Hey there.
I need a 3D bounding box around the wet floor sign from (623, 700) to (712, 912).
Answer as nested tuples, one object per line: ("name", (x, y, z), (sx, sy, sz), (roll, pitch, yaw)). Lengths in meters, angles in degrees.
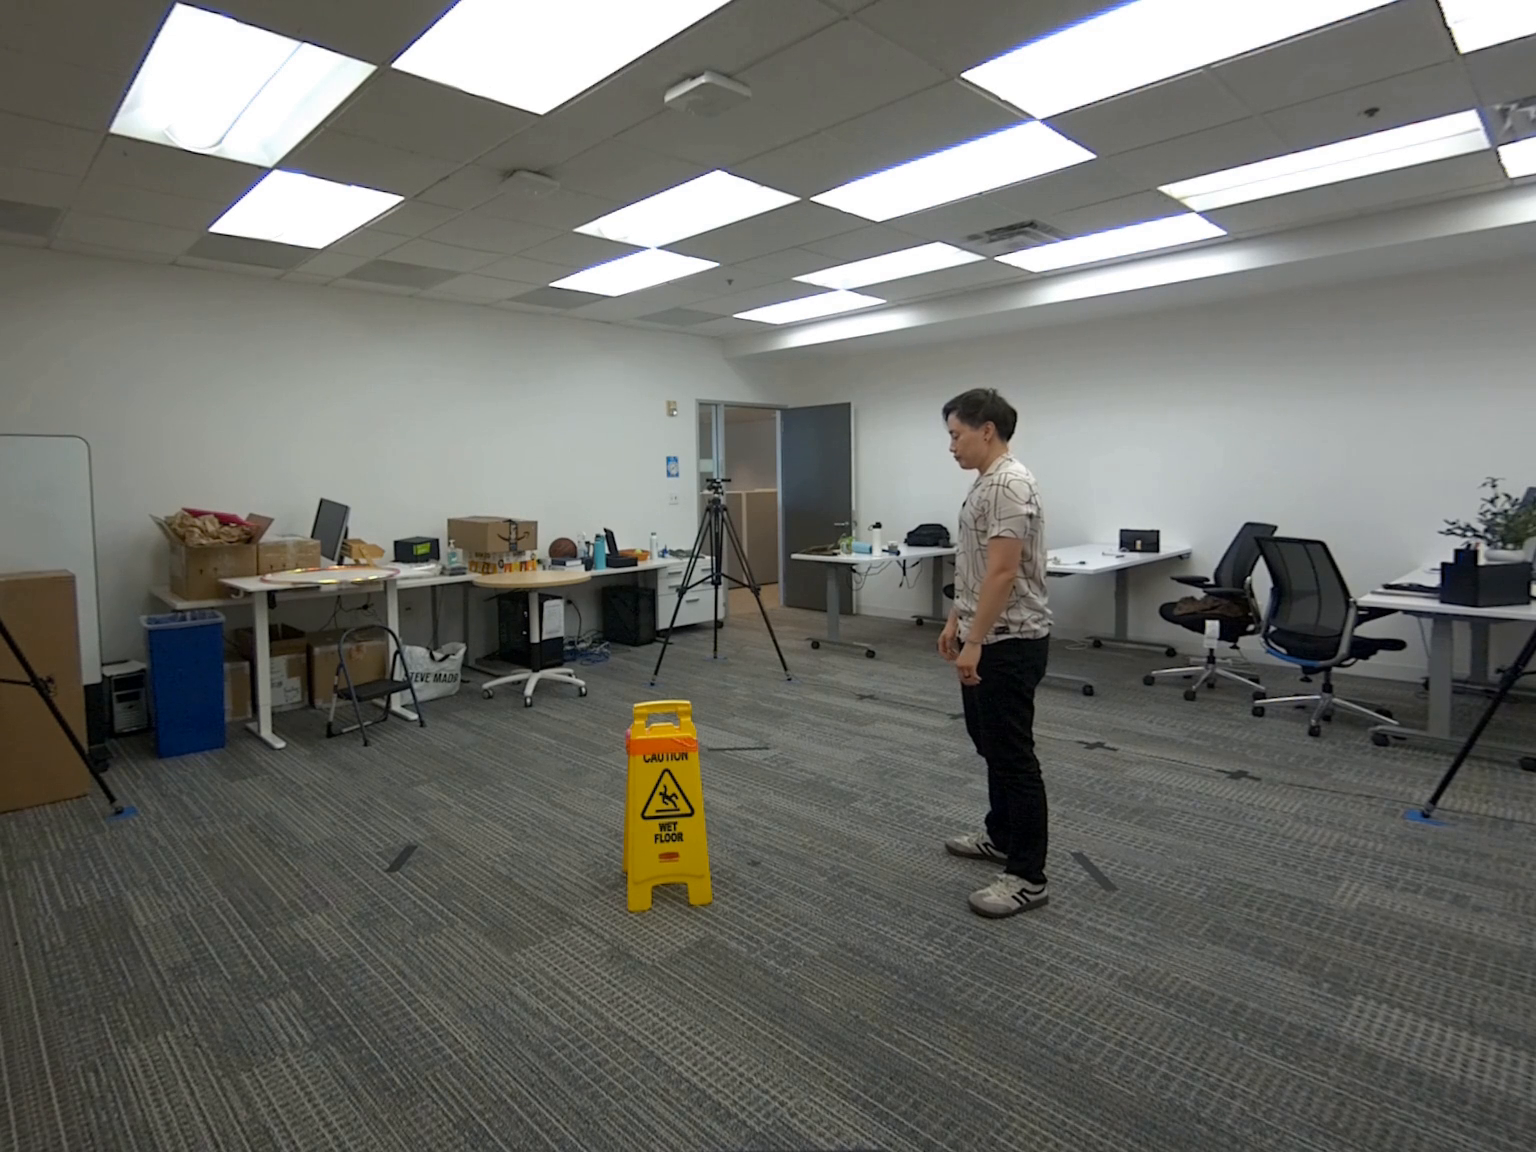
("wet floor sign", (-0.353, 0.744, 2.915), (0.279, 0.643, 0.294), (-2, 5, -12))
